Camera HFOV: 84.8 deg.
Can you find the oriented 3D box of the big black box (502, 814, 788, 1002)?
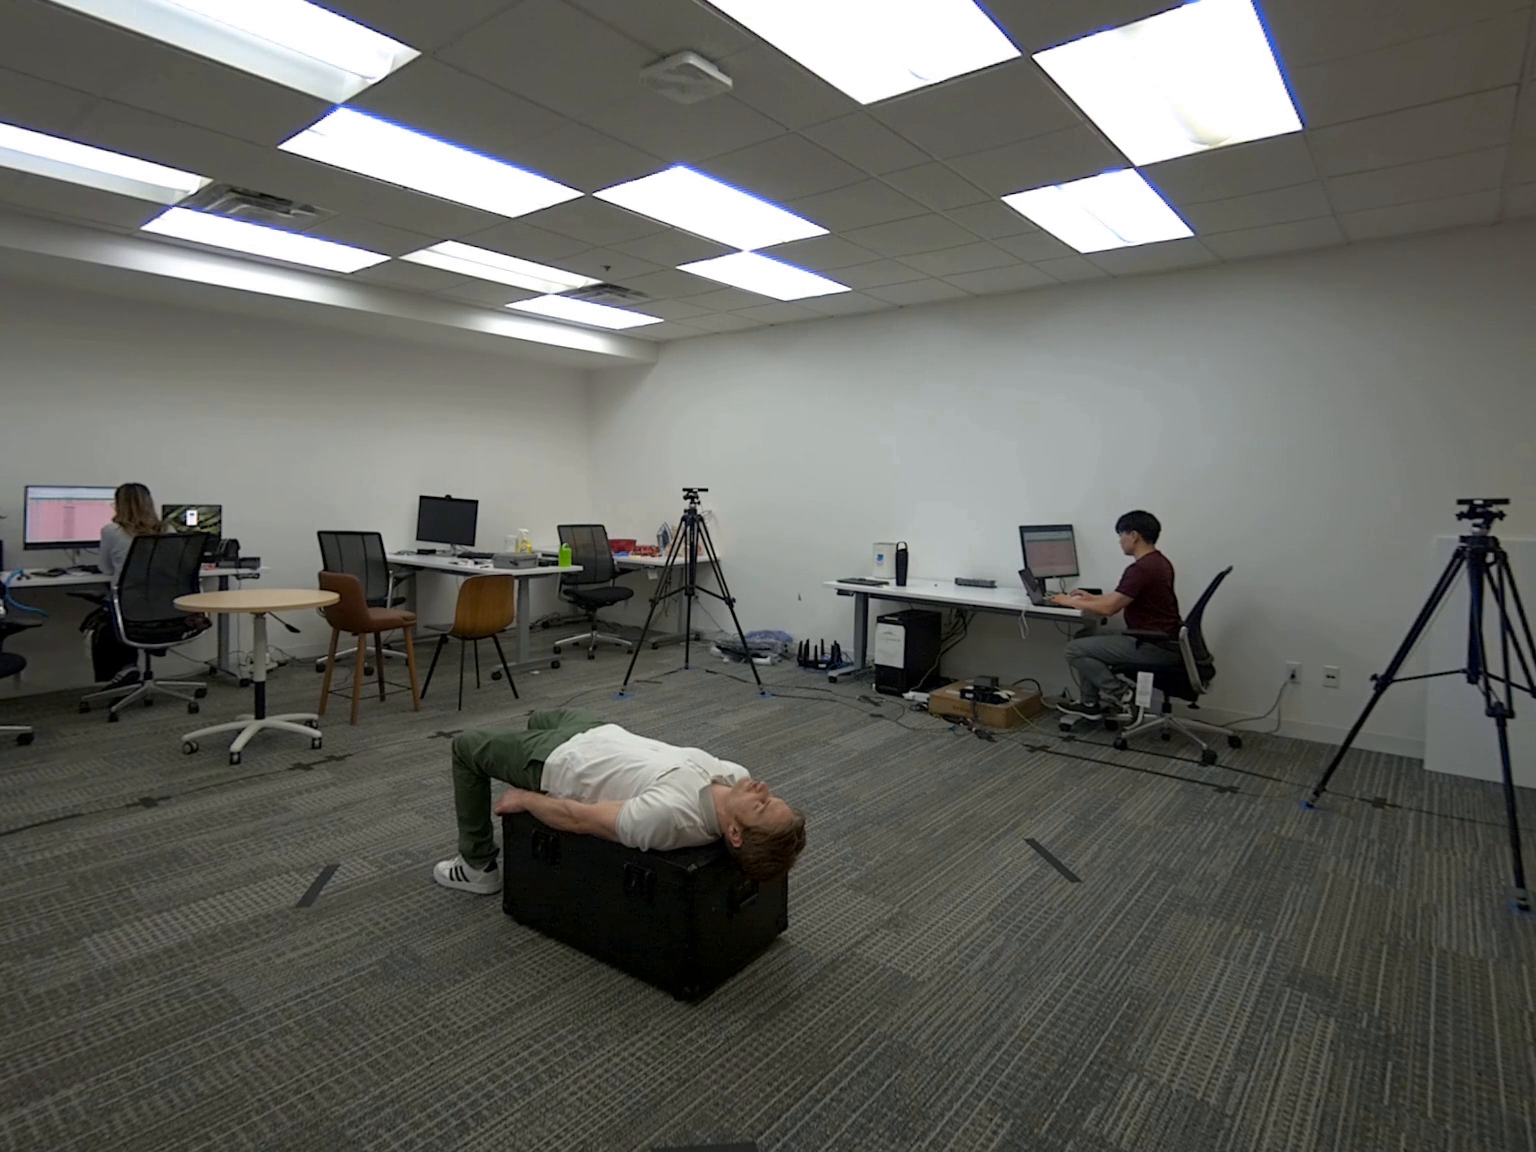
[{"bbox_3d":[-0.427,0.918,2.703,0.896,0.384,0.509,4,6,35],"label":"big black box"}]
